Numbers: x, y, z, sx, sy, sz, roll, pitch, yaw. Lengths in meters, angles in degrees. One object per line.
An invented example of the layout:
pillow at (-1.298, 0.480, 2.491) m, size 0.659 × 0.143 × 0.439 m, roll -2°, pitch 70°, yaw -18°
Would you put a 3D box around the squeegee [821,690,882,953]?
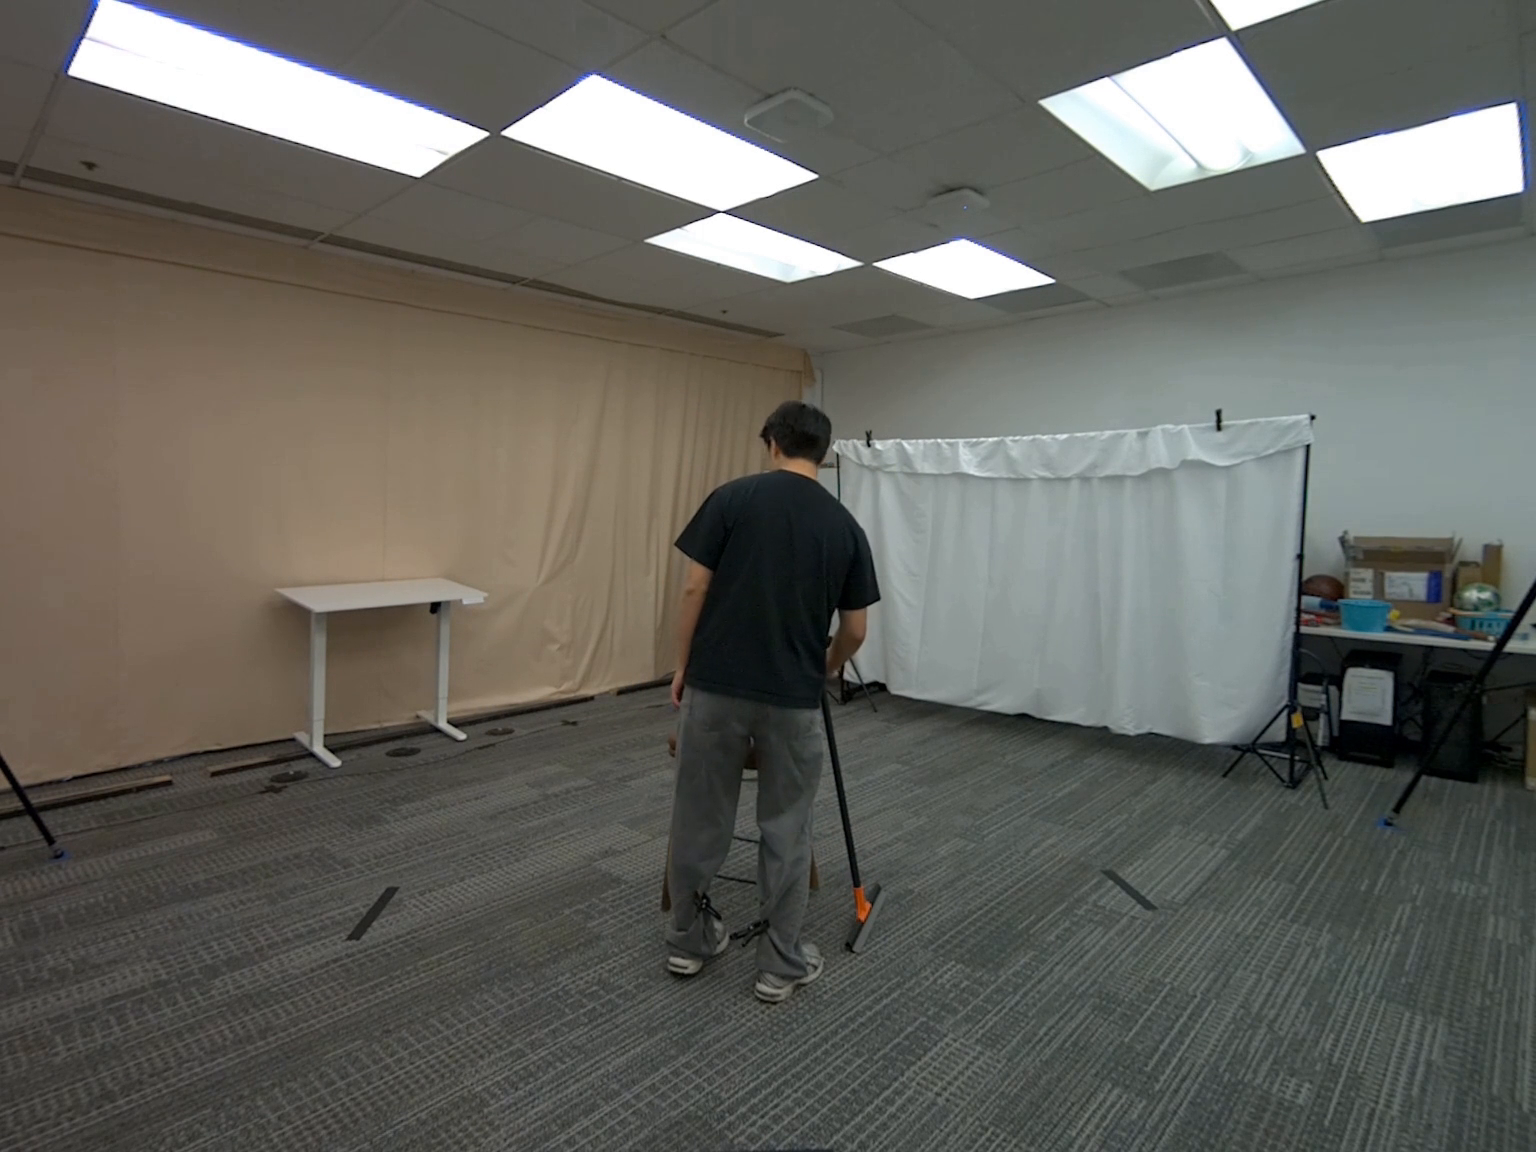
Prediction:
squeegee at (0.206, 0.409, 2.854) m, size 0.054 × 1.542 × 0.429 m, roll -10°, pitch -4°, yaw 17°
